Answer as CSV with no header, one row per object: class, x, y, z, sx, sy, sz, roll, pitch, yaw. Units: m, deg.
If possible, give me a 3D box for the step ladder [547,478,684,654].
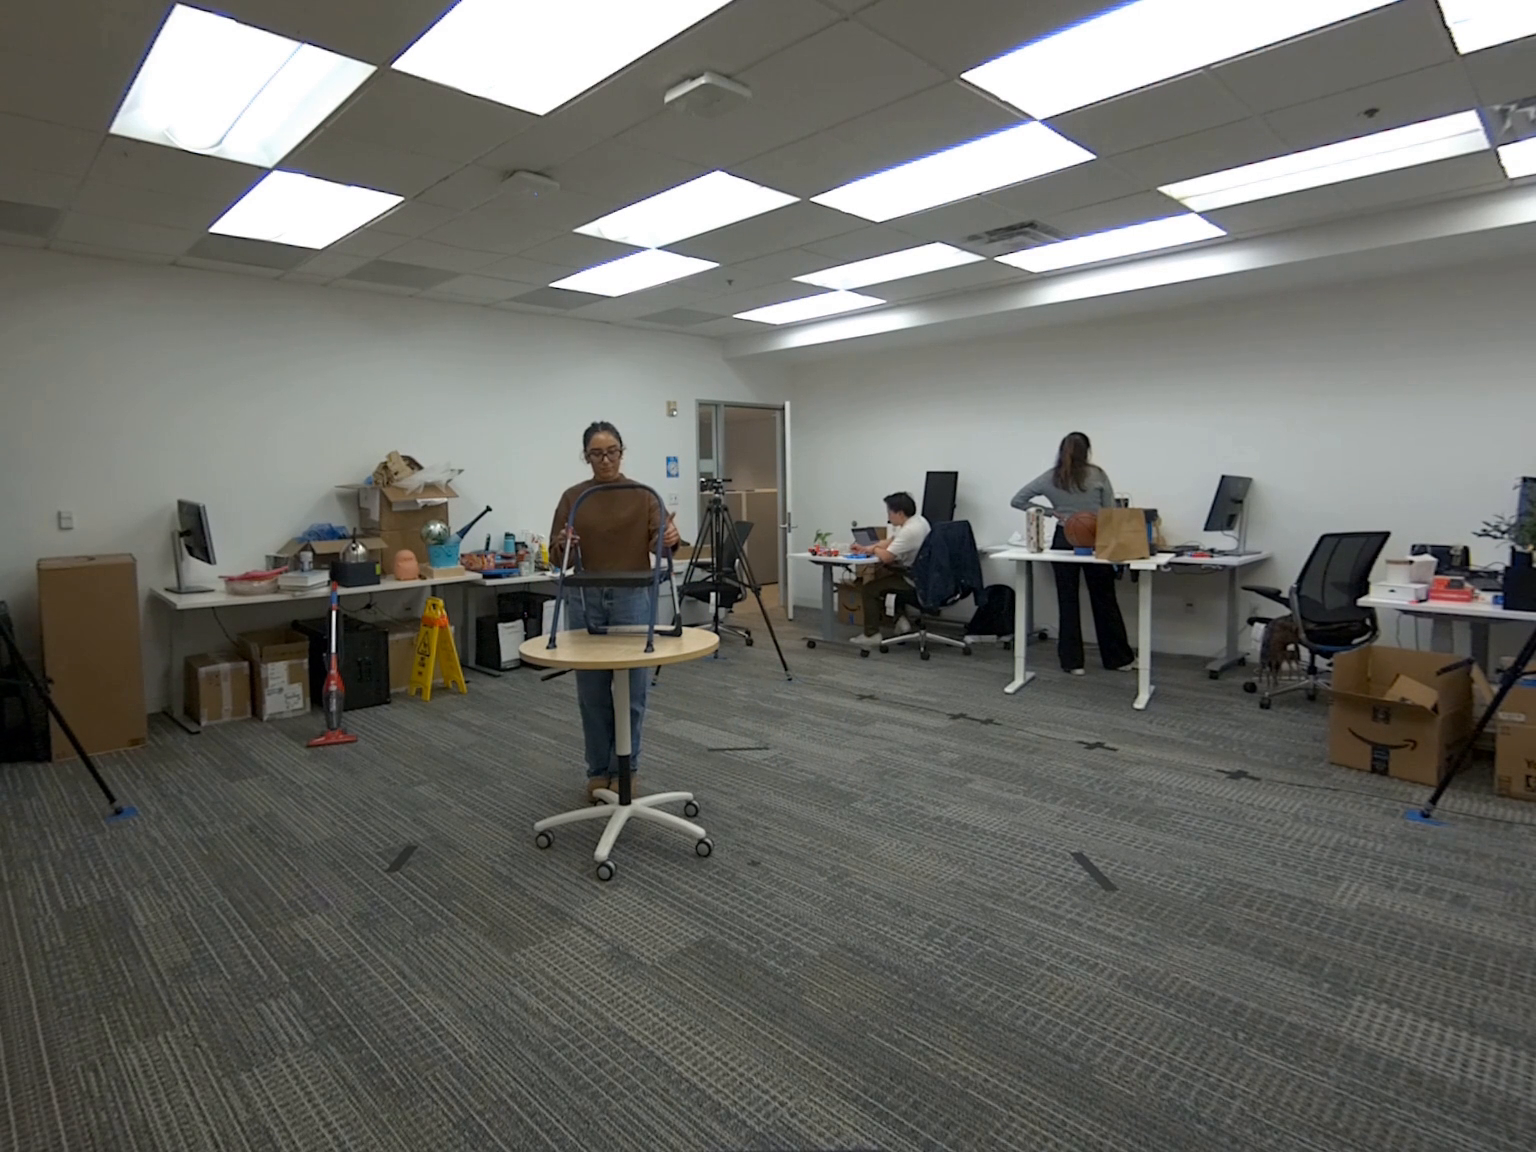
step ladder,-0.593,-0.046,3.269,0.438,0.604,0.344,-1,4,17
